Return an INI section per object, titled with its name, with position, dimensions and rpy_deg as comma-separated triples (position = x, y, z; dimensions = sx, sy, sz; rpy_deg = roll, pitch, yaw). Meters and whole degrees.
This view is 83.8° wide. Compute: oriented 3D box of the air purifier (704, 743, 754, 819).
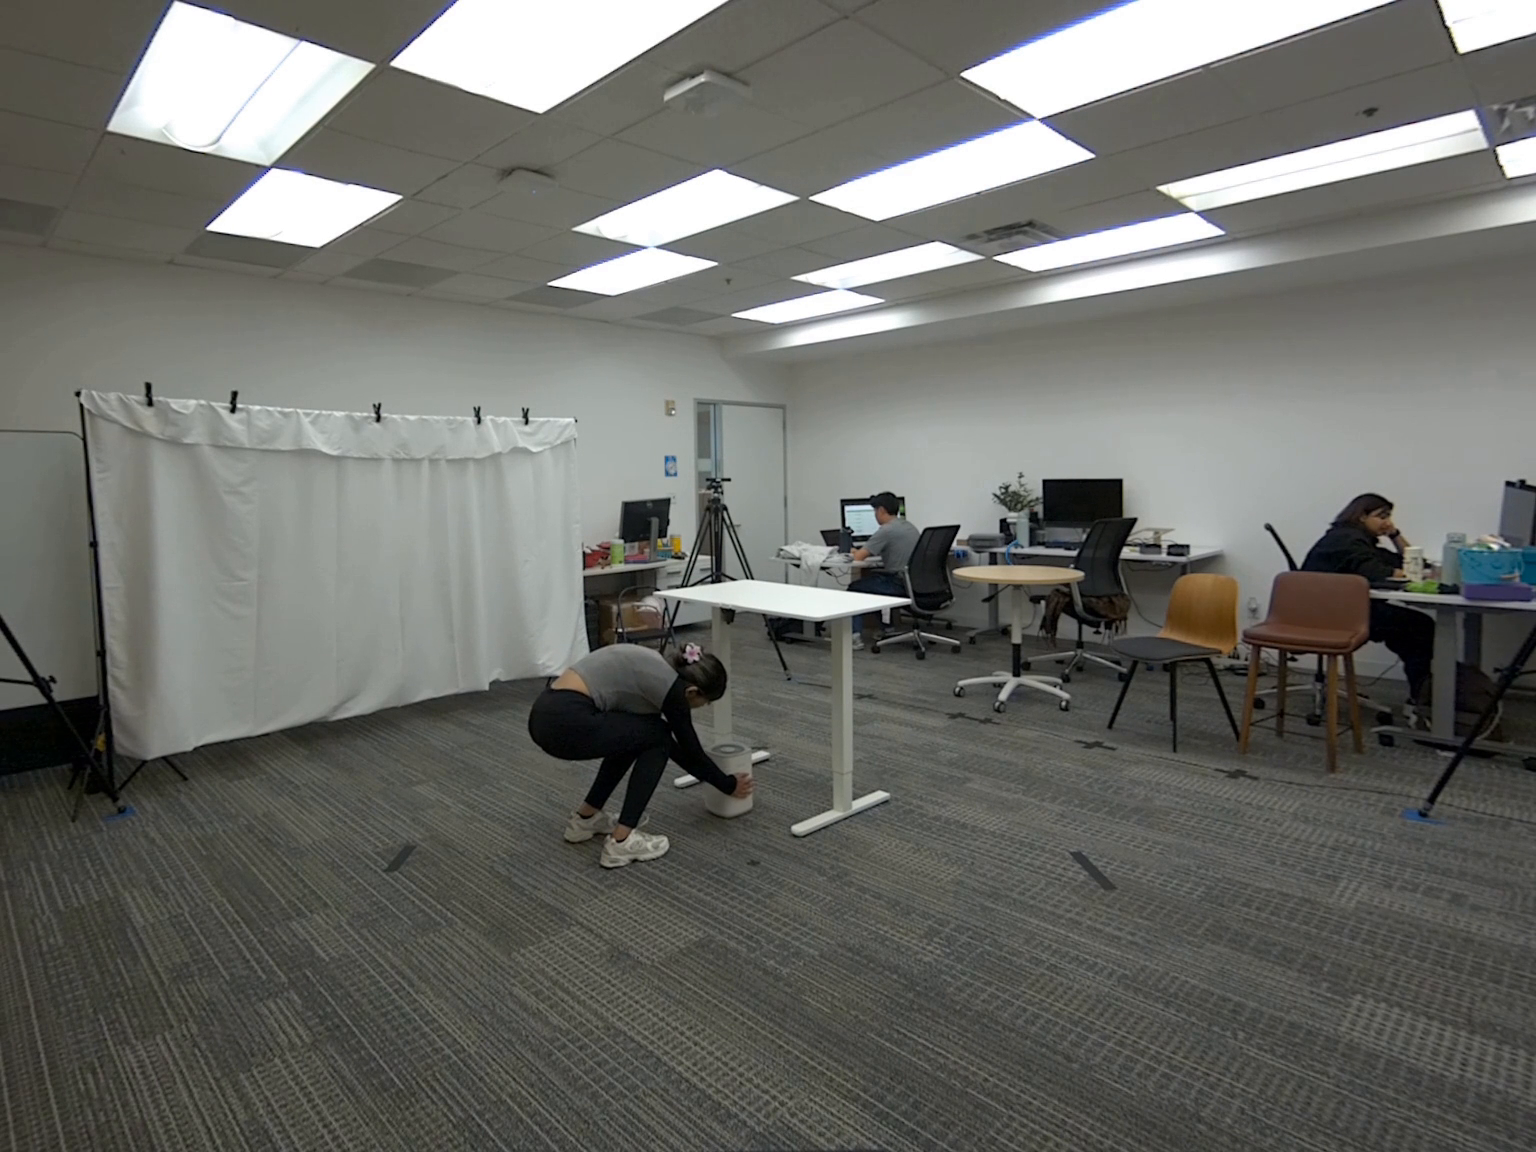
[air purifier]
position = -0.164, 0.856, 3.590
dimensions = 0.177, 0.265, 0.166
rpy_deg = 2, 2, 42
